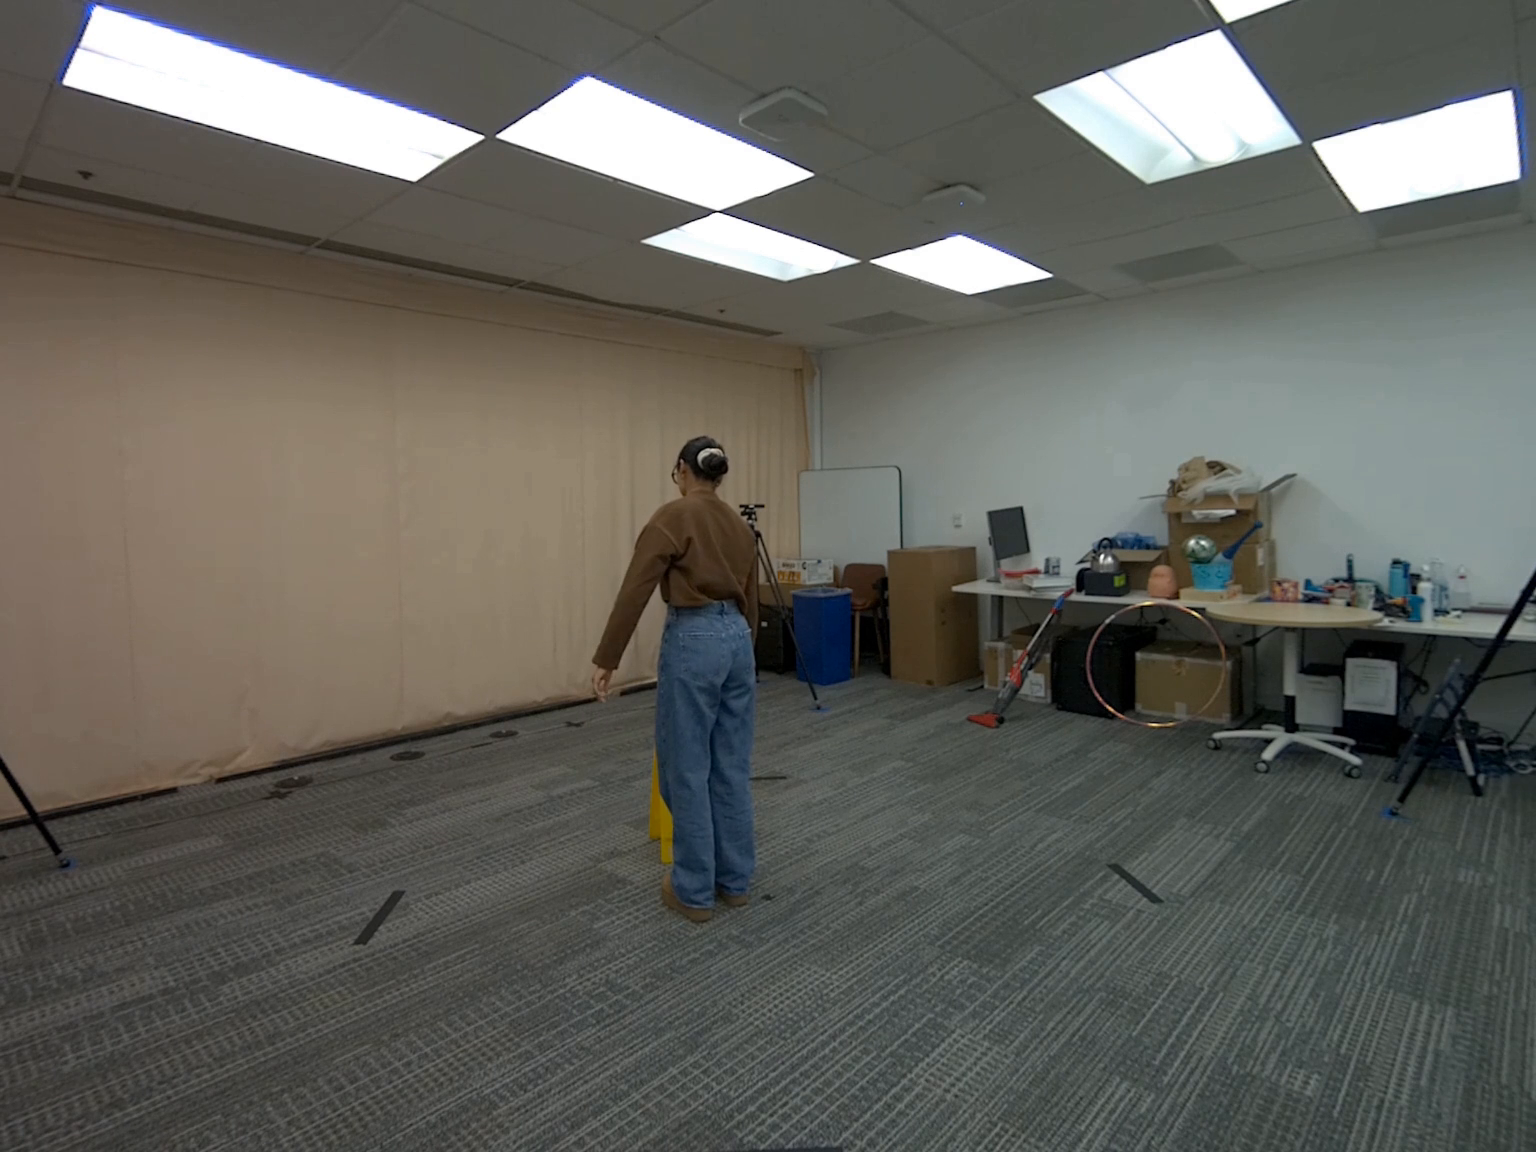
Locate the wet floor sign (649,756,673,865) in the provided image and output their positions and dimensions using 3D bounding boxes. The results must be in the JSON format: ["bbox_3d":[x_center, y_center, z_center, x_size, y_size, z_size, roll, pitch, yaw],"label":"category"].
[{"bbox_3d":[-0.333,0.782,3.434,0.277,0.645,0.295,-1,2,-17],"label":"wet floor sign"}]
